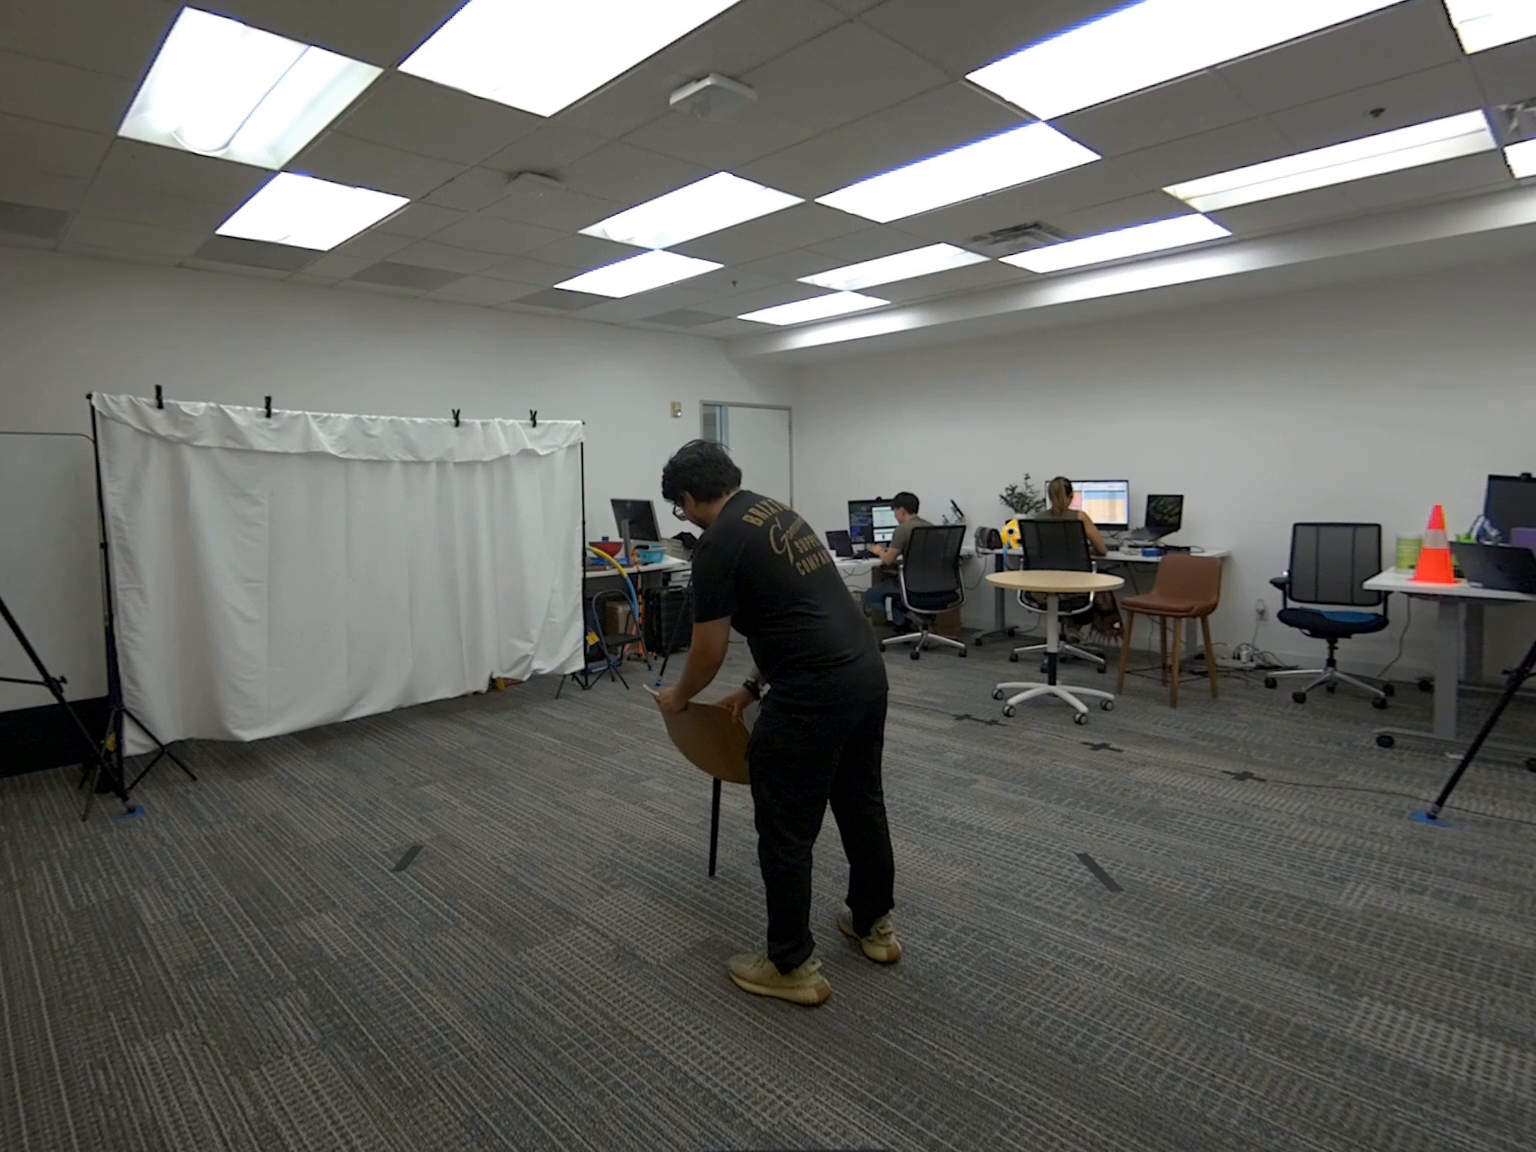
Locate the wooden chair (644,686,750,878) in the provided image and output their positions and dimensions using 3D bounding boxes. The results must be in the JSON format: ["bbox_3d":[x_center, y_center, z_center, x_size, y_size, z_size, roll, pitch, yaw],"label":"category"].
[{"bbox_3d":[-0.015,0.592,2.872,0.493,0.855,0.521,4,34,43],"label":"wooden chair"}]
